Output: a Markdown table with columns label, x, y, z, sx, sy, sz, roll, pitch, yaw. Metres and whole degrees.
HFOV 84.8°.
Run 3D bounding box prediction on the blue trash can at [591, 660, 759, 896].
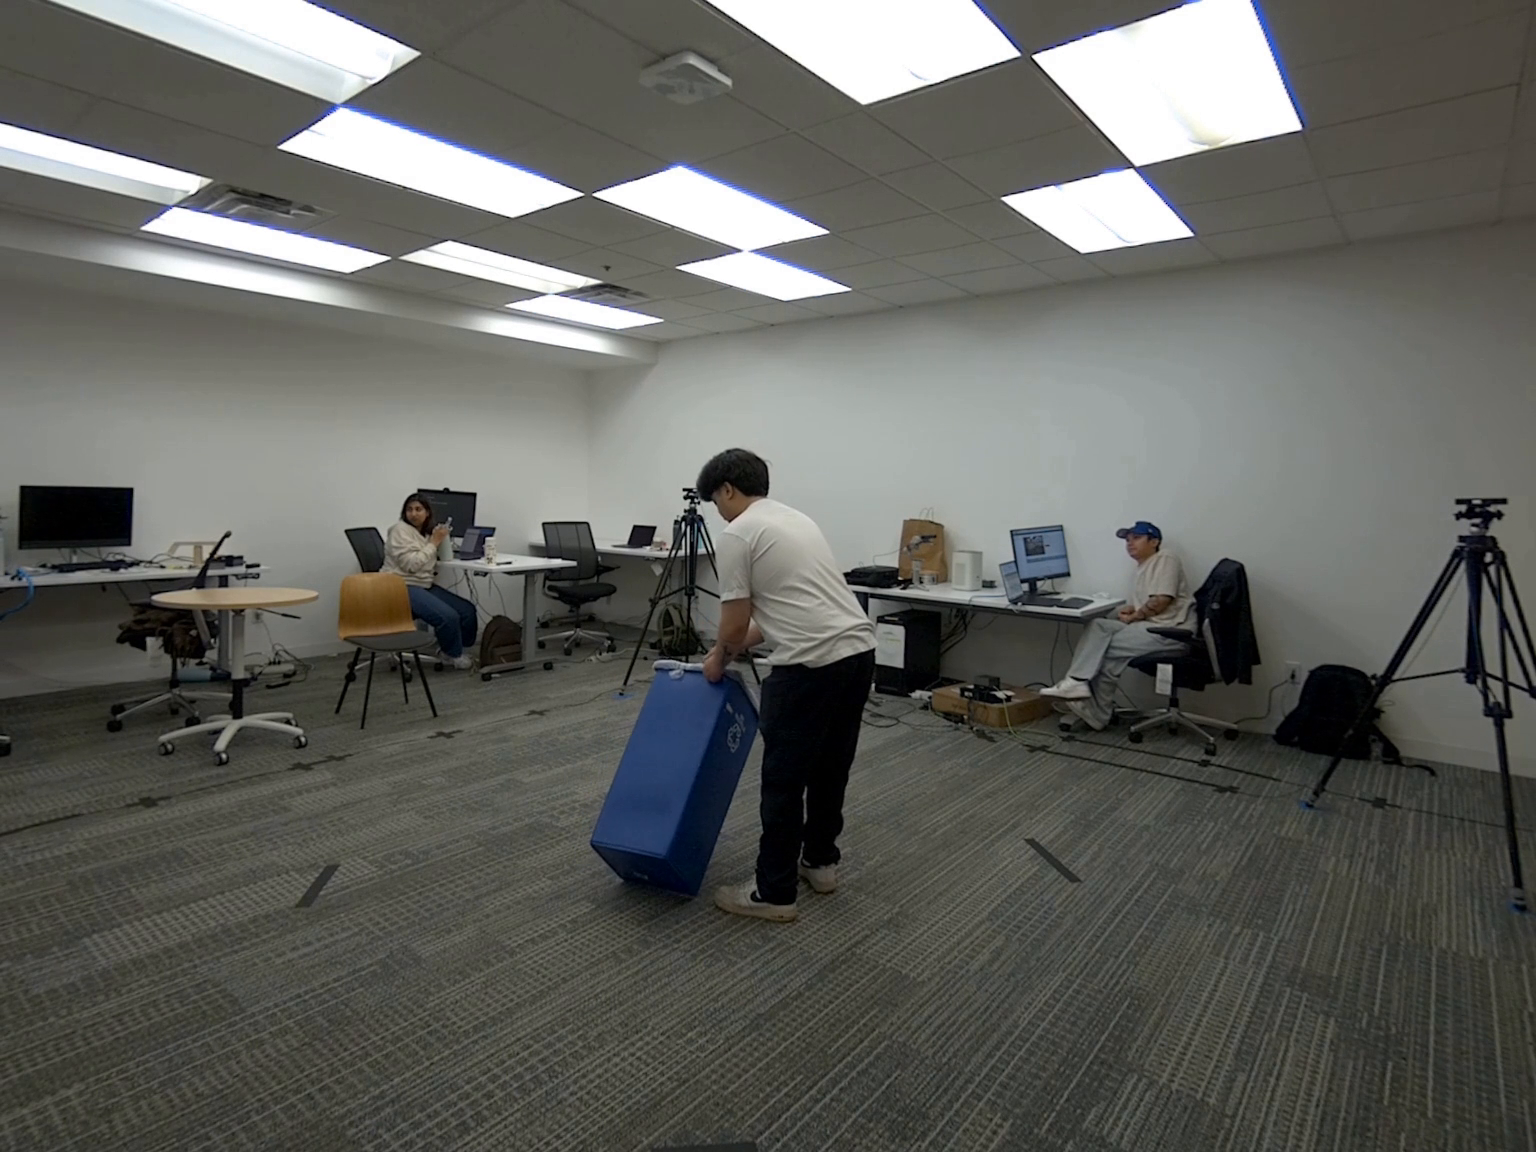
| label | x | y | z | sx | sy | sz | roll | pitch | yaw |
| --- | --- | --- | --- | --- | --- | --- | --- | --- | --- |
| blue trash can | -0.330 | 0.716 | 3.073 | 0.388 | 0.723 | 0.359 | 2 | -40 | 24 |
